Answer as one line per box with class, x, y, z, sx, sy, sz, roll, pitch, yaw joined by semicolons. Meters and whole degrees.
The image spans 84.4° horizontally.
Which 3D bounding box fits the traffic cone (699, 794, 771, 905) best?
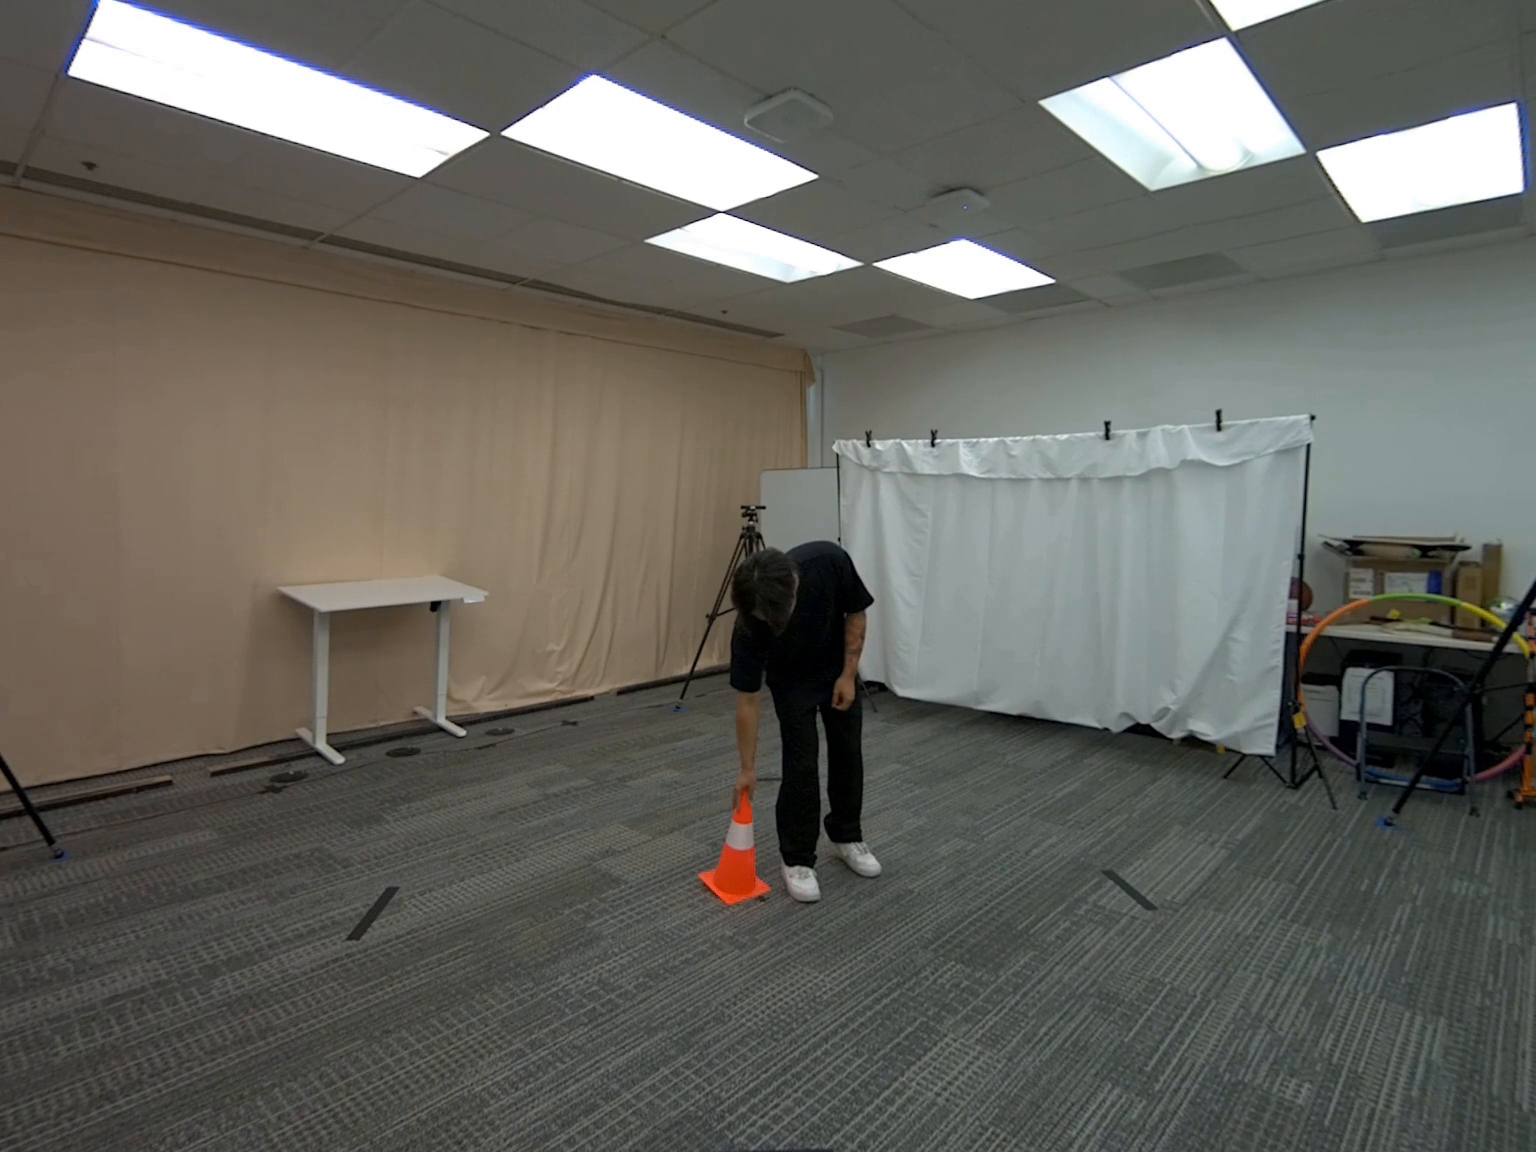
traffic cone;-0.091;0.945;3.036;0.198;0.382;0.211;1;10;-28
